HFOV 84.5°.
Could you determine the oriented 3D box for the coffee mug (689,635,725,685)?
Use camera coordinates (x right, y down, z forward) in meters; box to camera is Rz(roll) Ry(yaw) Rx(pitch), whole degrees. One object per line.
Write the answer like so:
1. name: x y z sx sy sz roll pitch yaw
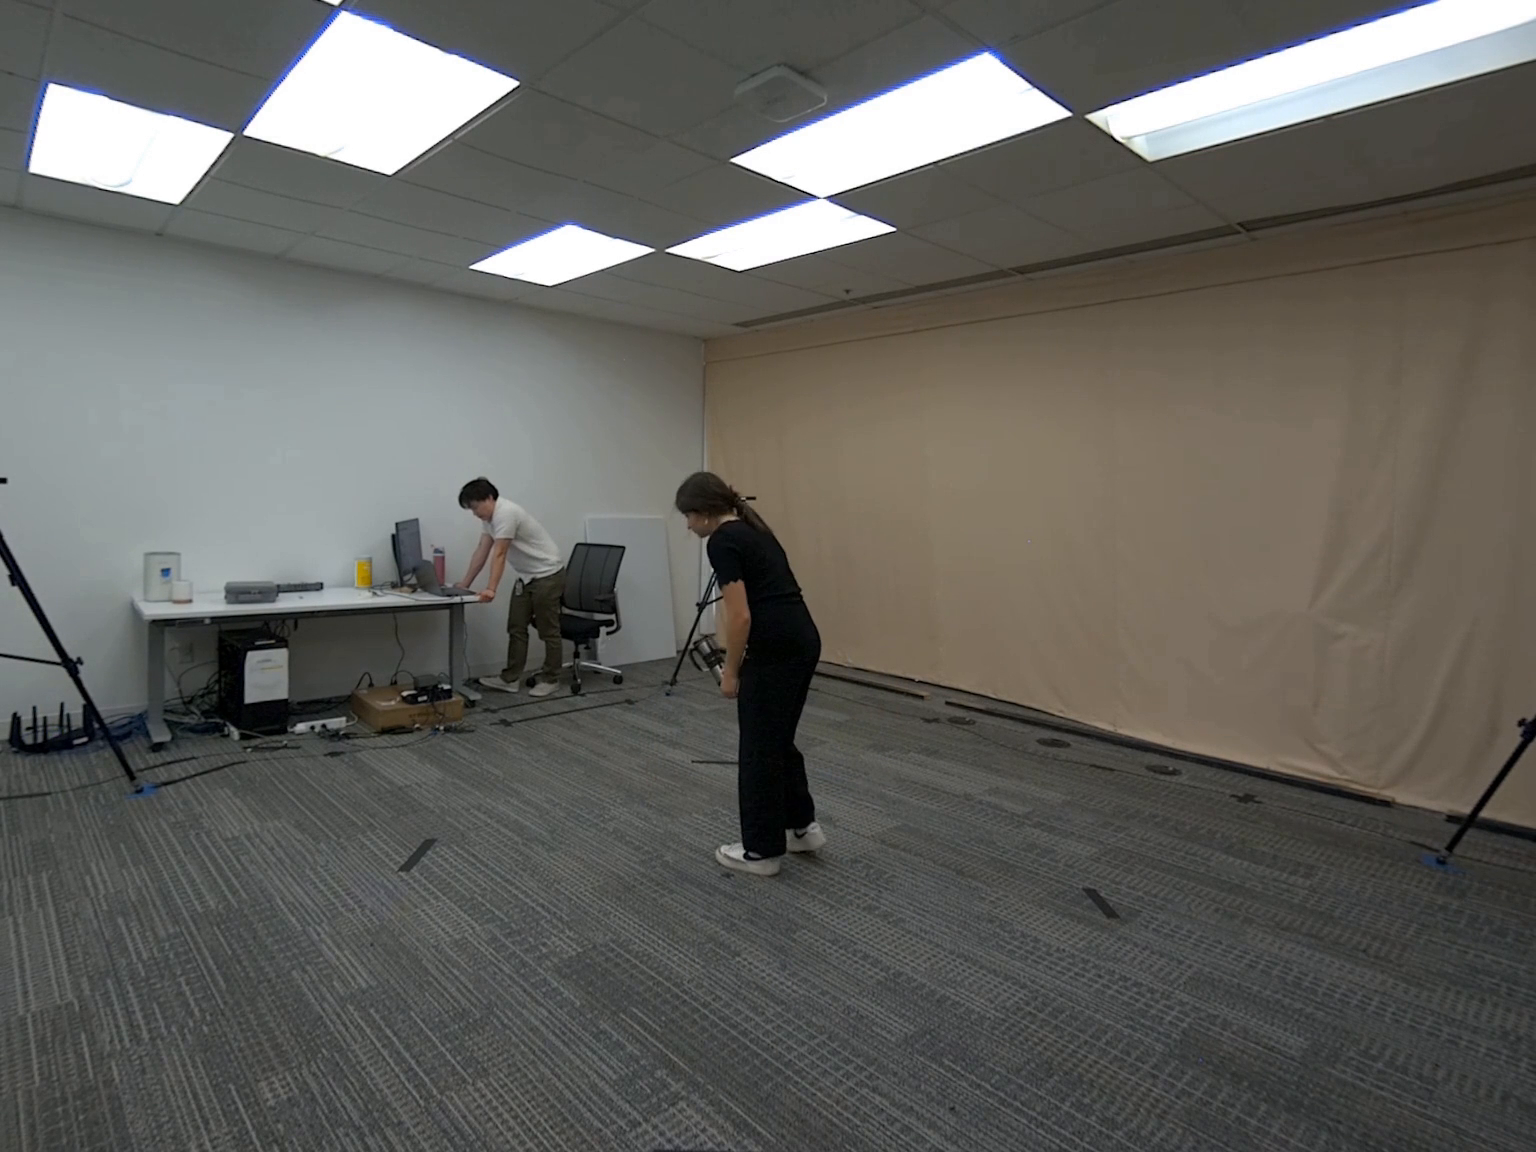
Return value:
1. coffee mug: -0.232 0.357 3.364 0.122 0.206 0.086 -30 -13 4
